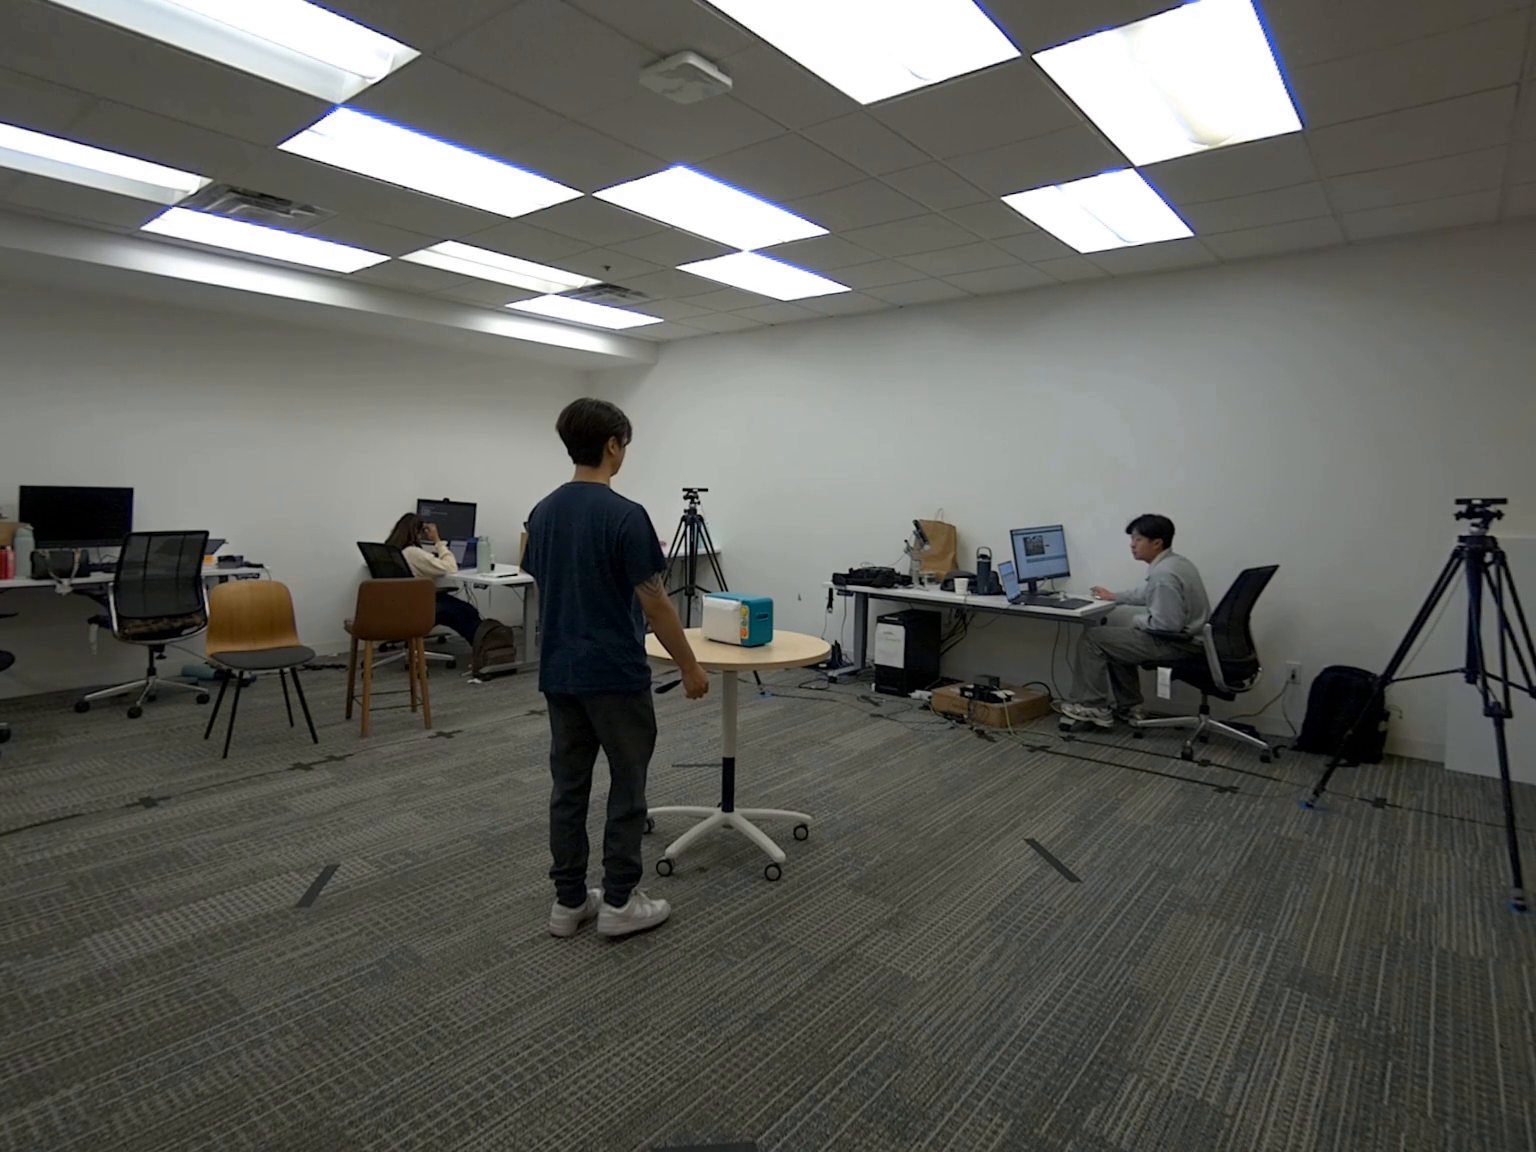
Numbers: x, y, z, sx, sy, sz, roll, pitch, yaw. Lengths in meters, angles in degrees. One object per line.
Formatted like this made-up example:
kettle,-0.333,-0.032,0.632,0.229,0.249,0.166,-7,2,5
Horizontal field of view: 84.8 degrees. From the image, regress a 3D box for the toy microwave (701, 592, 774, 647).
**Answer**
toy microwave,-0.141,0.162,3.301,0.296,0.183,0.148,6,6,44
